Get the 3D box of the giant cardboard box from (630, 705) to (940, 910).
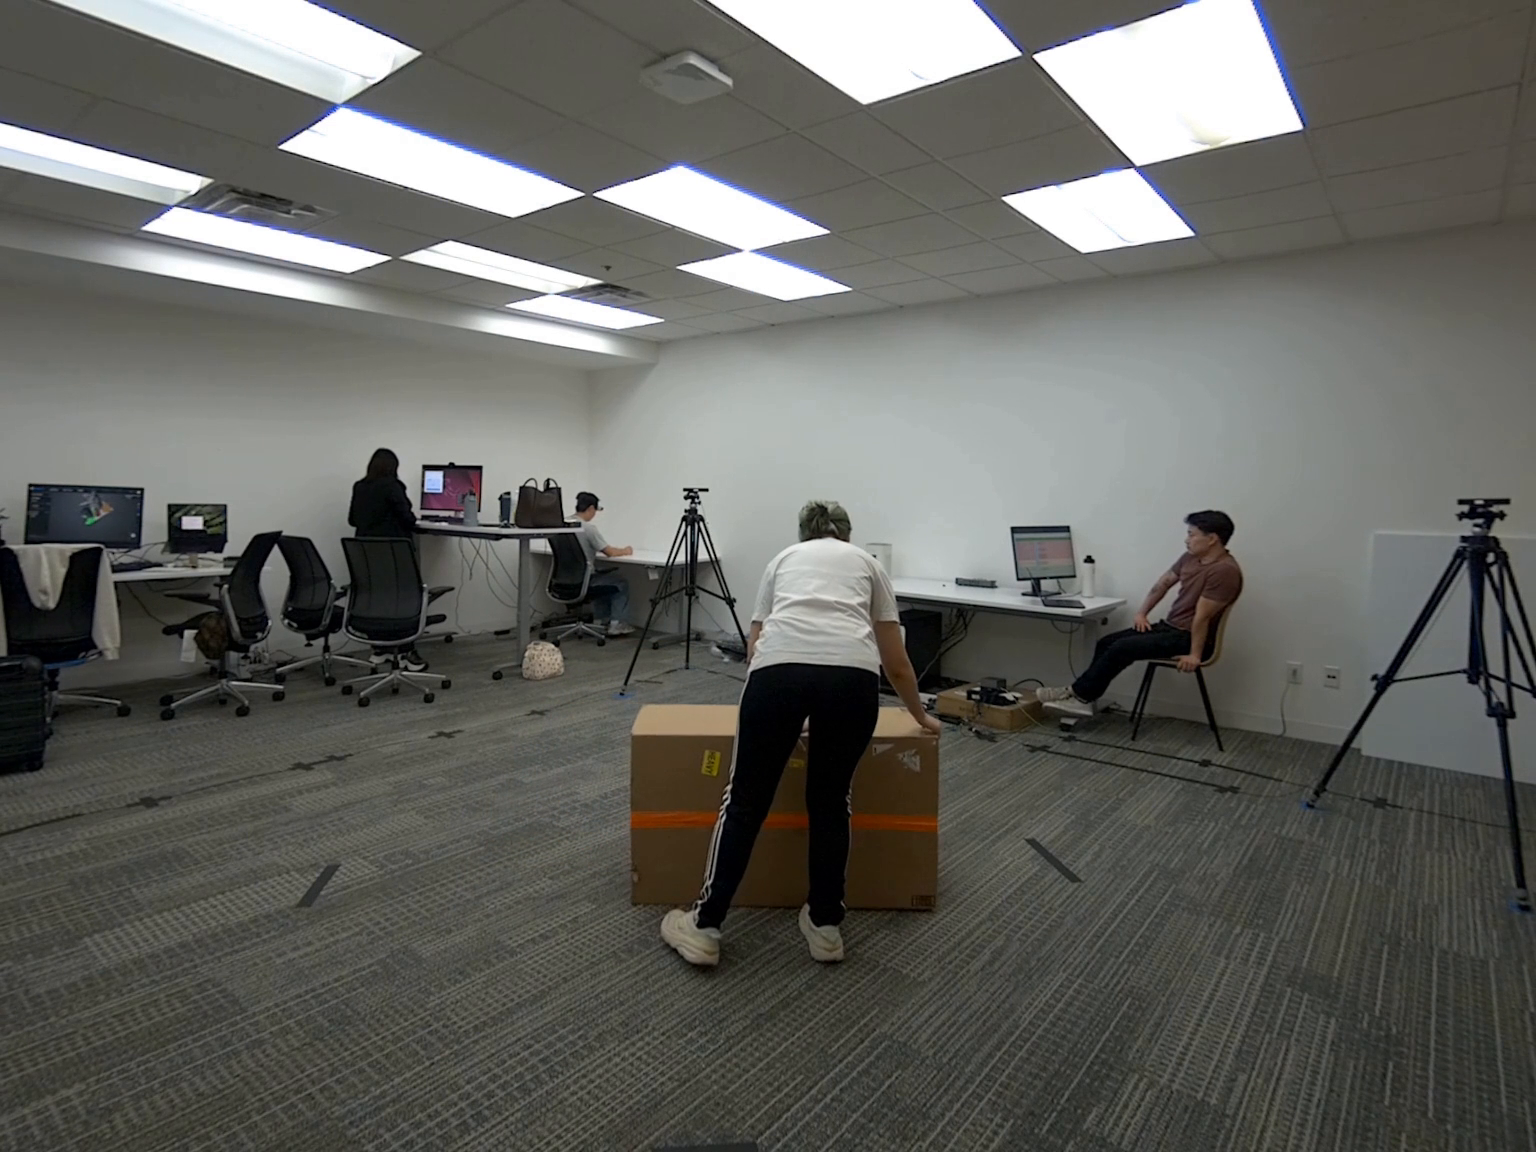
[{"bbox_3d":[0.030,0.785,3.025,1.026,0.576,0.427,0,3,0],"label":"giant cardboard box"}]
